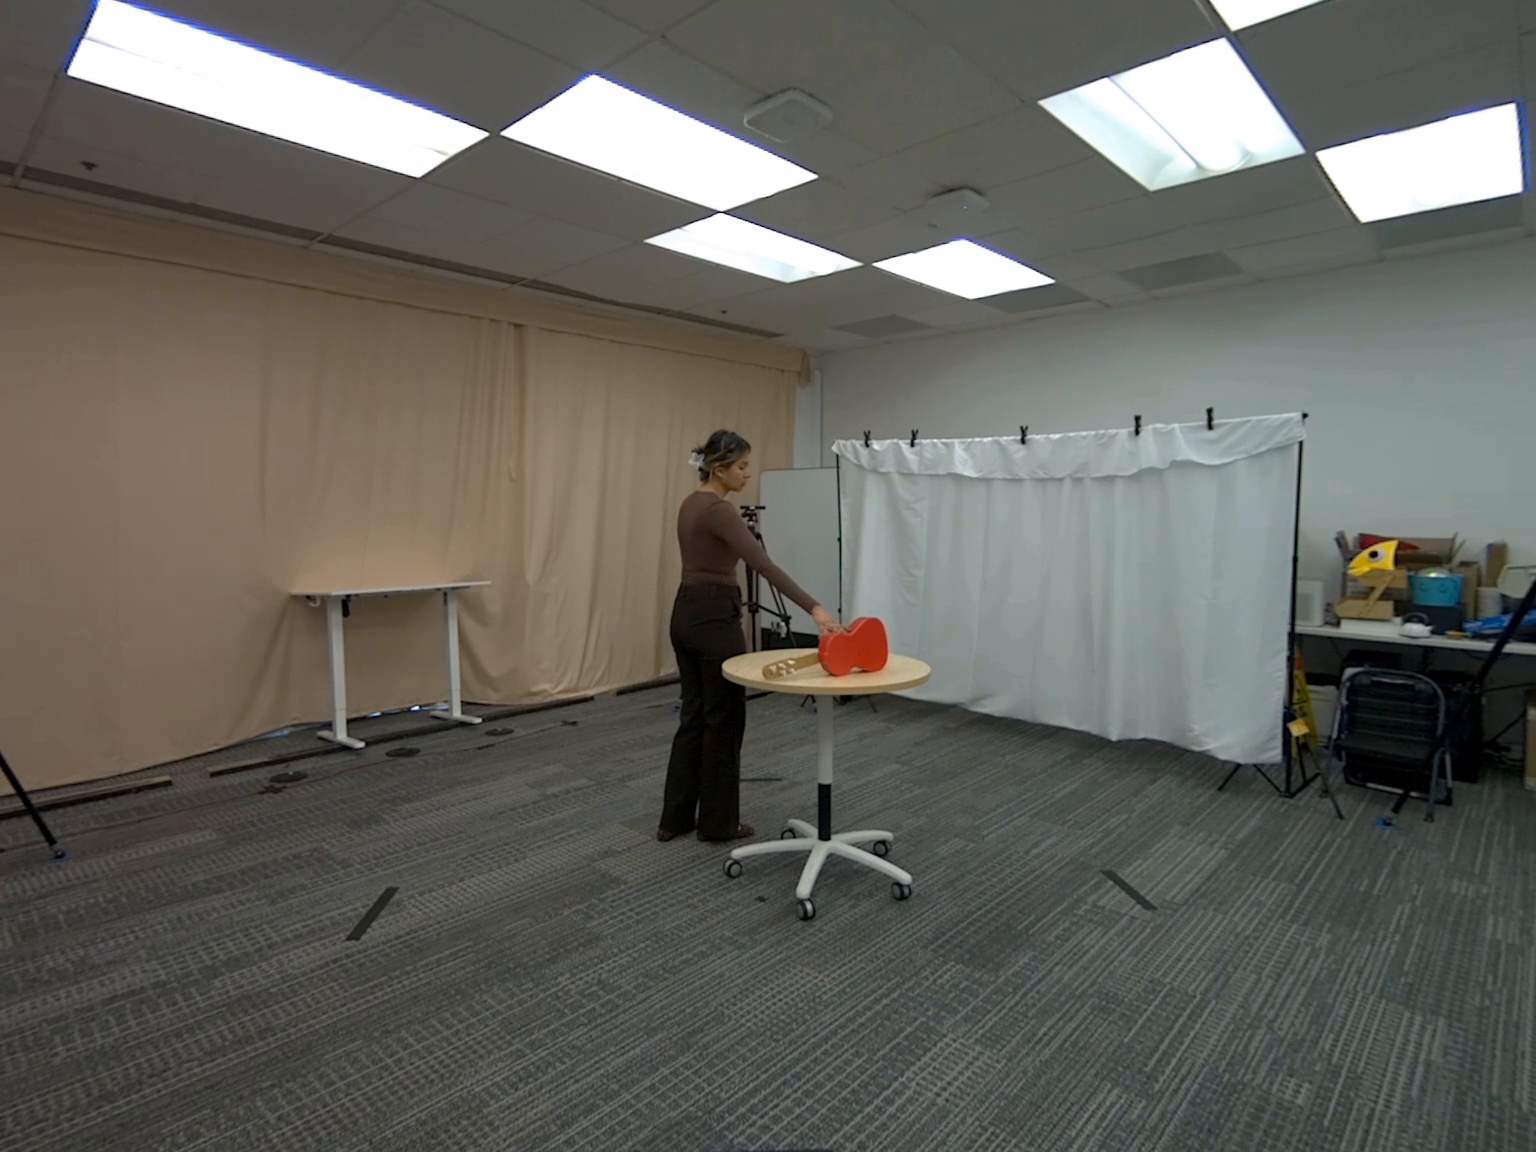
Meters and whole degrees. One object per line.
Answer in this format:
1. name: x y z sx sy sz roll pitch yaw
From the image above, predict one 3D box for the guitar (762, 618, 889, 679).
1. guitar: 0.221 0.308 2.942 0.488 0.191 0.072 -23 10 -28
